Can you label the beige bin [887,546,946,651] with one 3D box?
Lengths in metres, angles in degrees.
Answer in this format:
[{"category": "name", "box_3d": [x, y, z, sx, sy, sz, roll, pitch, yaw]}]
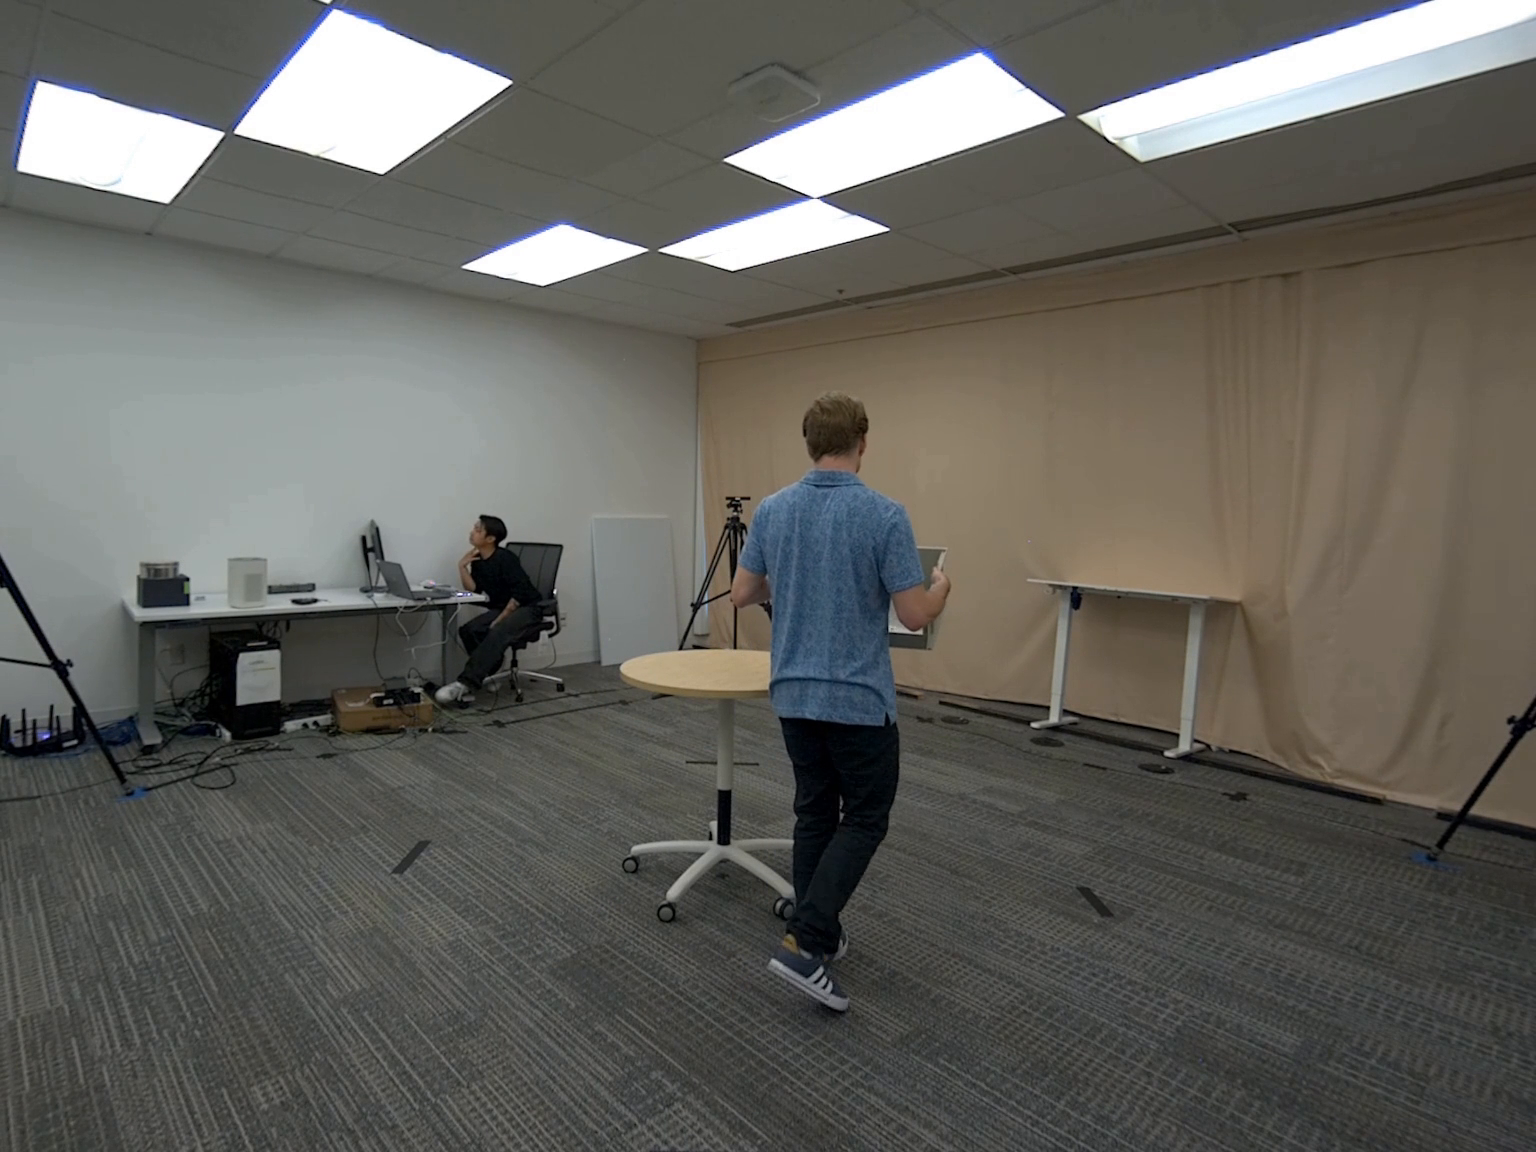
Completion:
[{"category": "beige bin", "box_3d": [0.341, 0.079, 2.727, 0.430, 0.185, 0.378, 1, 30, 24]}]
